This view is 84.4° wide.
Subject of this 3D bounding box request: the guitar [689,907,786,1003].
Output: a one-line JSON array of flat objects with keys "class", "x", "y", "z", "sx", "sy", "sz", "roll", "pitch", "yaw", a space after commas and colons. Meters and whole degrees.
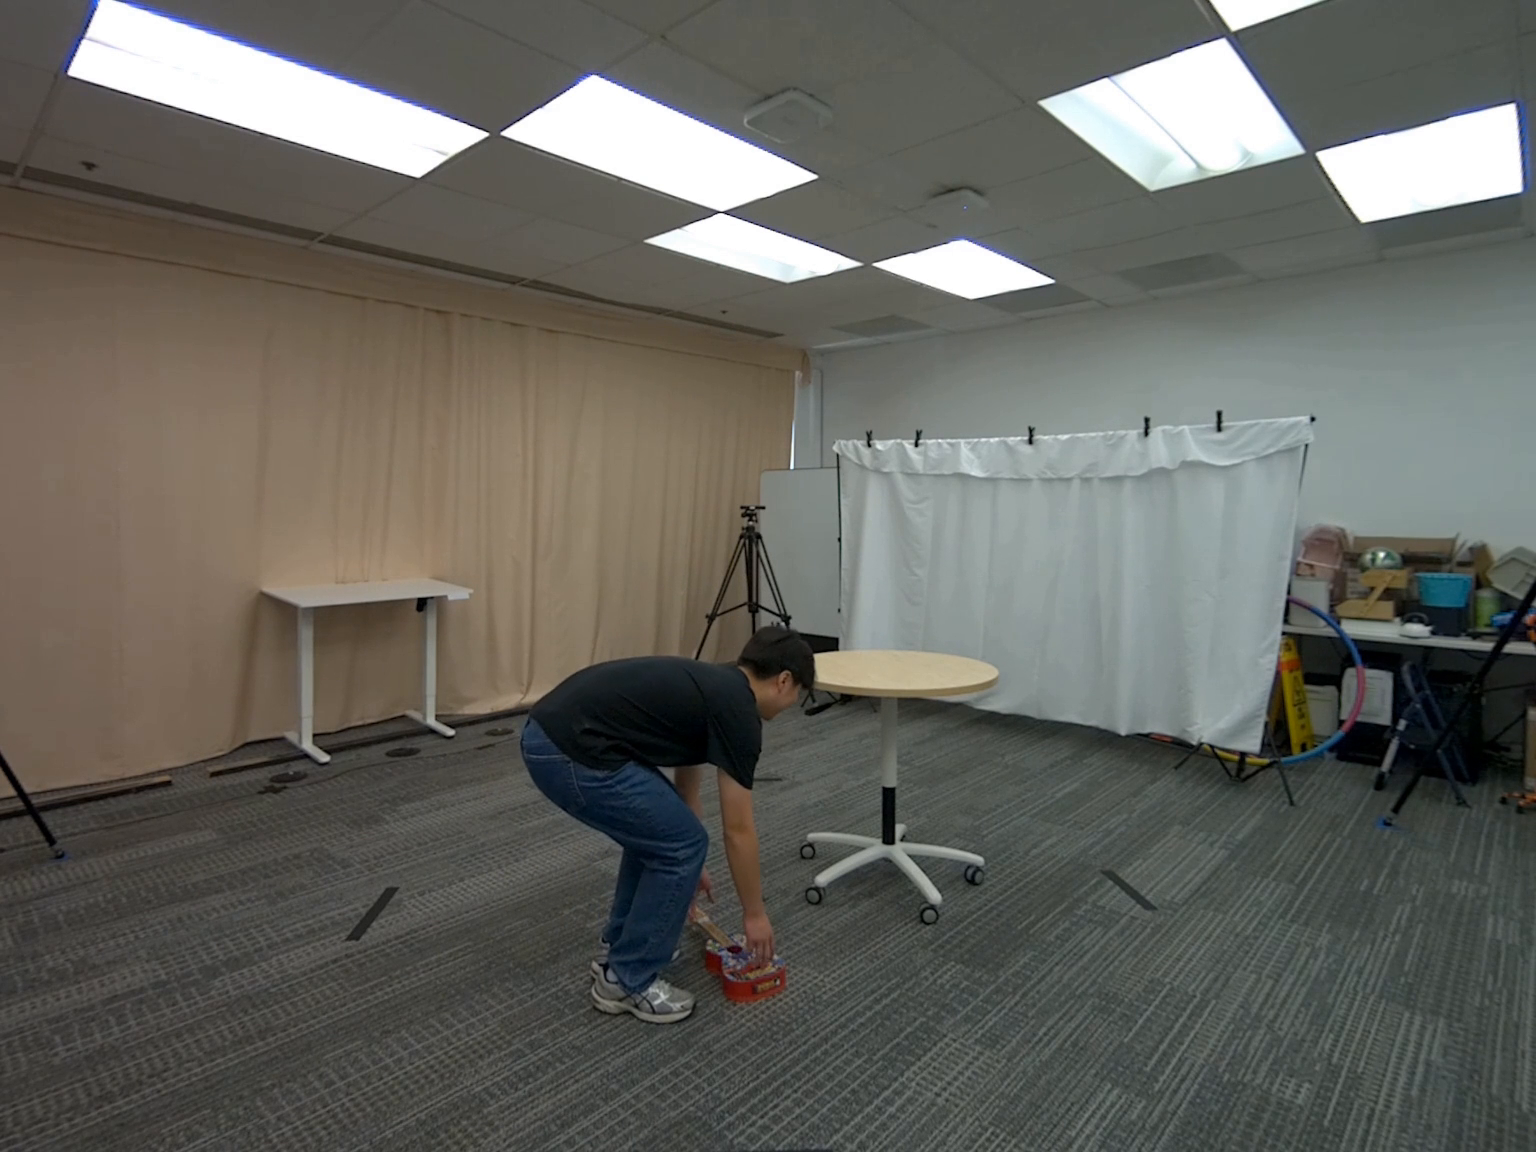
[{"class": "guitar", "x": -0.112, "y": 1.142, "z": 2.603, "sx": 0.189, "sy": 0.070, "sz": 0.510, "roll": -3, "pitch": 5, "yaw": -22}]
